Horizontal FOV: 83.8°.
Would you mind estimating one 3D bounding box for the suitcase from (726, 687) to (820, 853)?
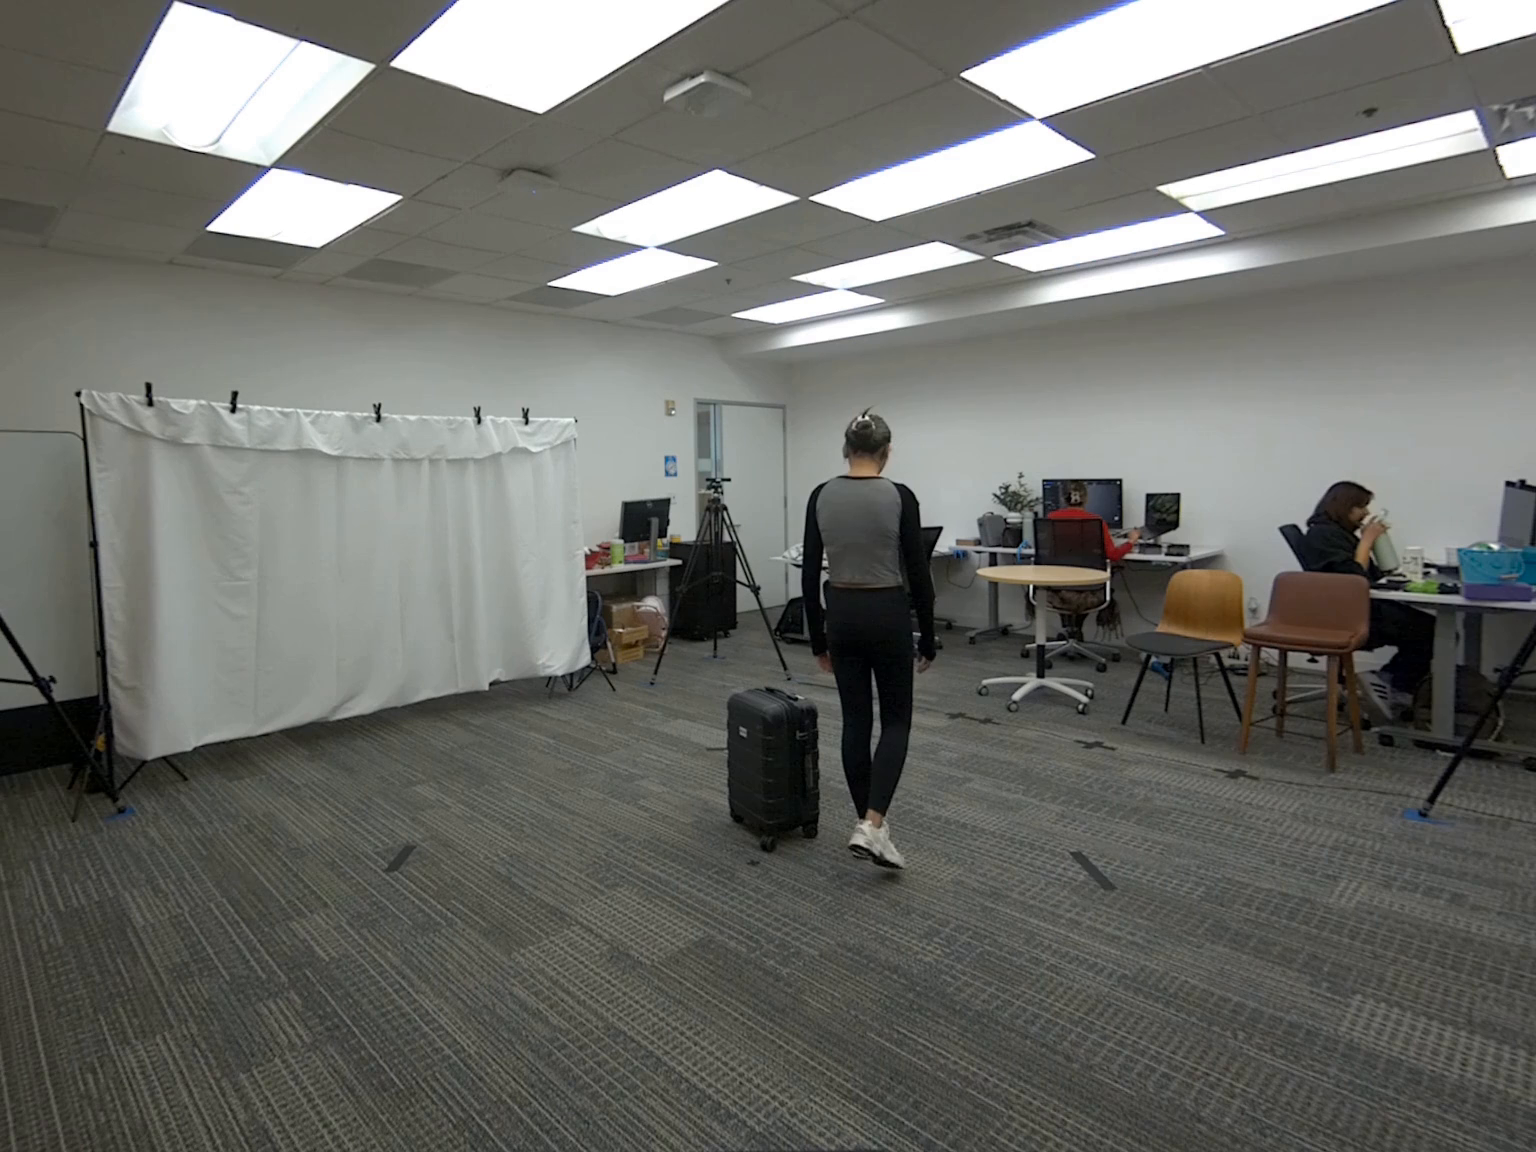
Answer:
[{"bbox_3d":[0.014,0.729,3.392,0.242,0.547,0.386,-3,6,-29],"label":"suitcase"}]
